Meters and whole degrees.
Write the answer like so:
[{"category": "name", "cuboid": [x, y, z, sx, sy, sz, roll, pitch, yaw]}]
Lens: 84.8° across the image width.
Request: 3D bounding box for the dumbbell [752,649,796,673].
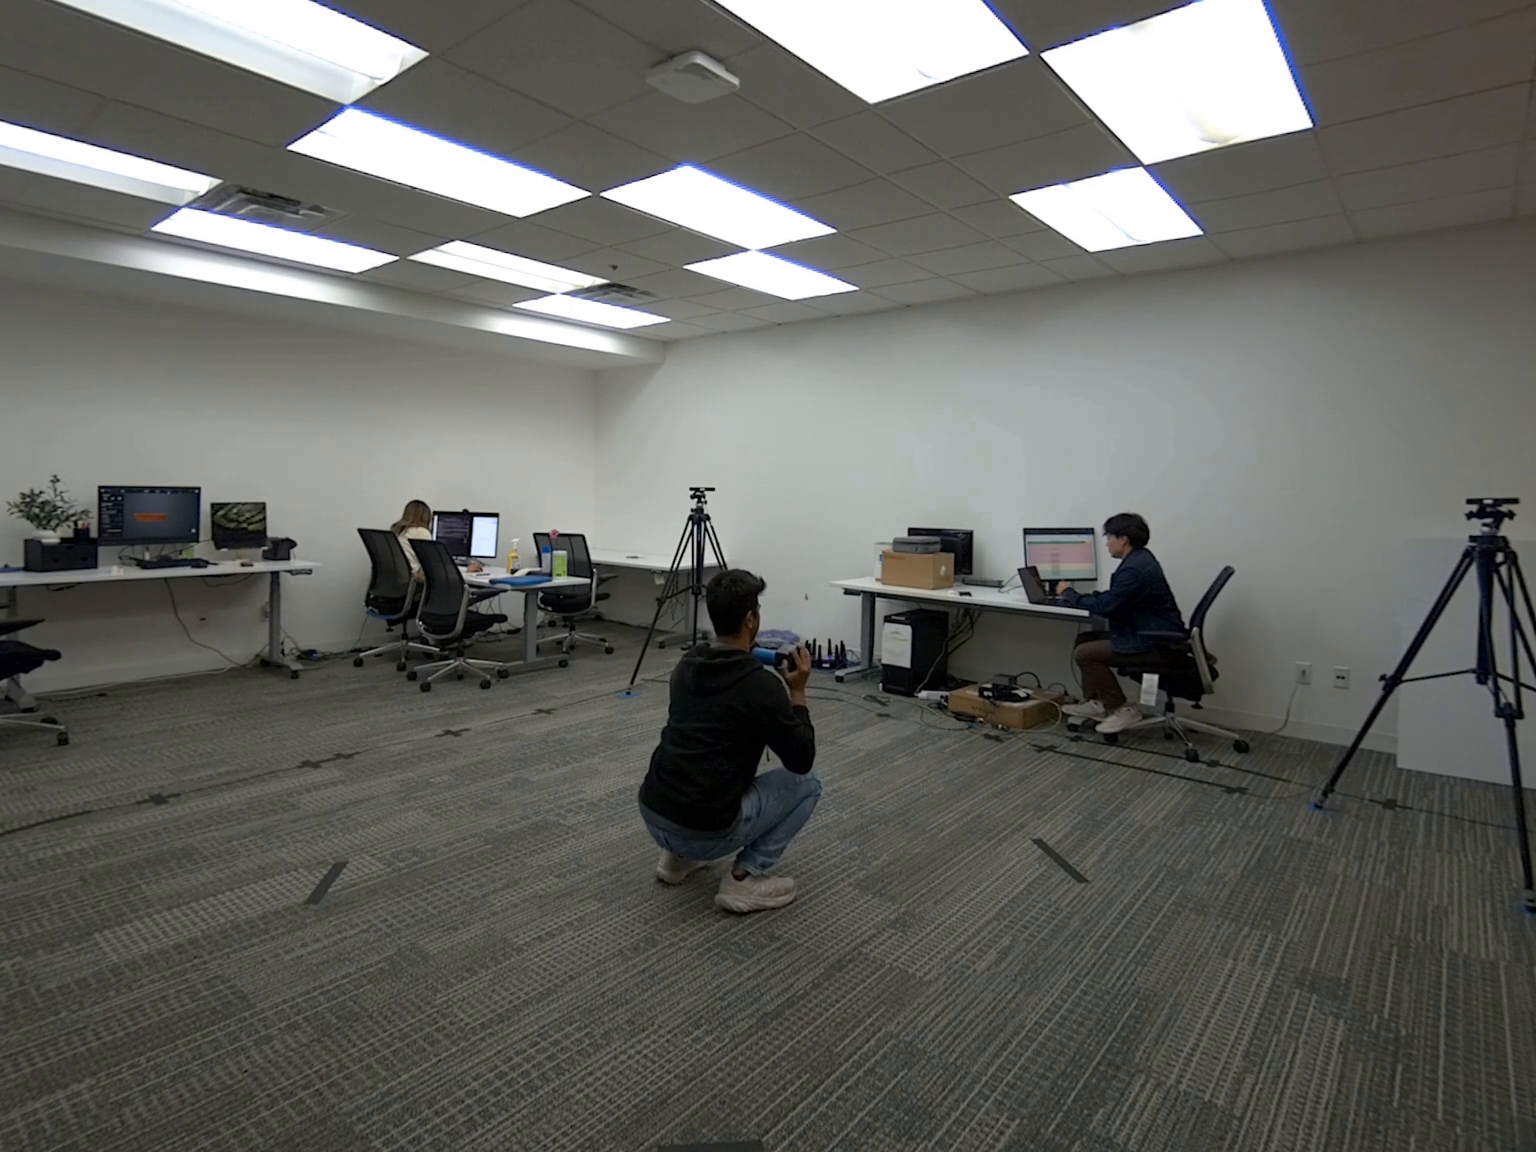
[{"category": "dumbbell", "cuboid": [-0.010, 0.291, 3.144, 0.303, 0.123, 0.105, 3, -1, 40]}]
